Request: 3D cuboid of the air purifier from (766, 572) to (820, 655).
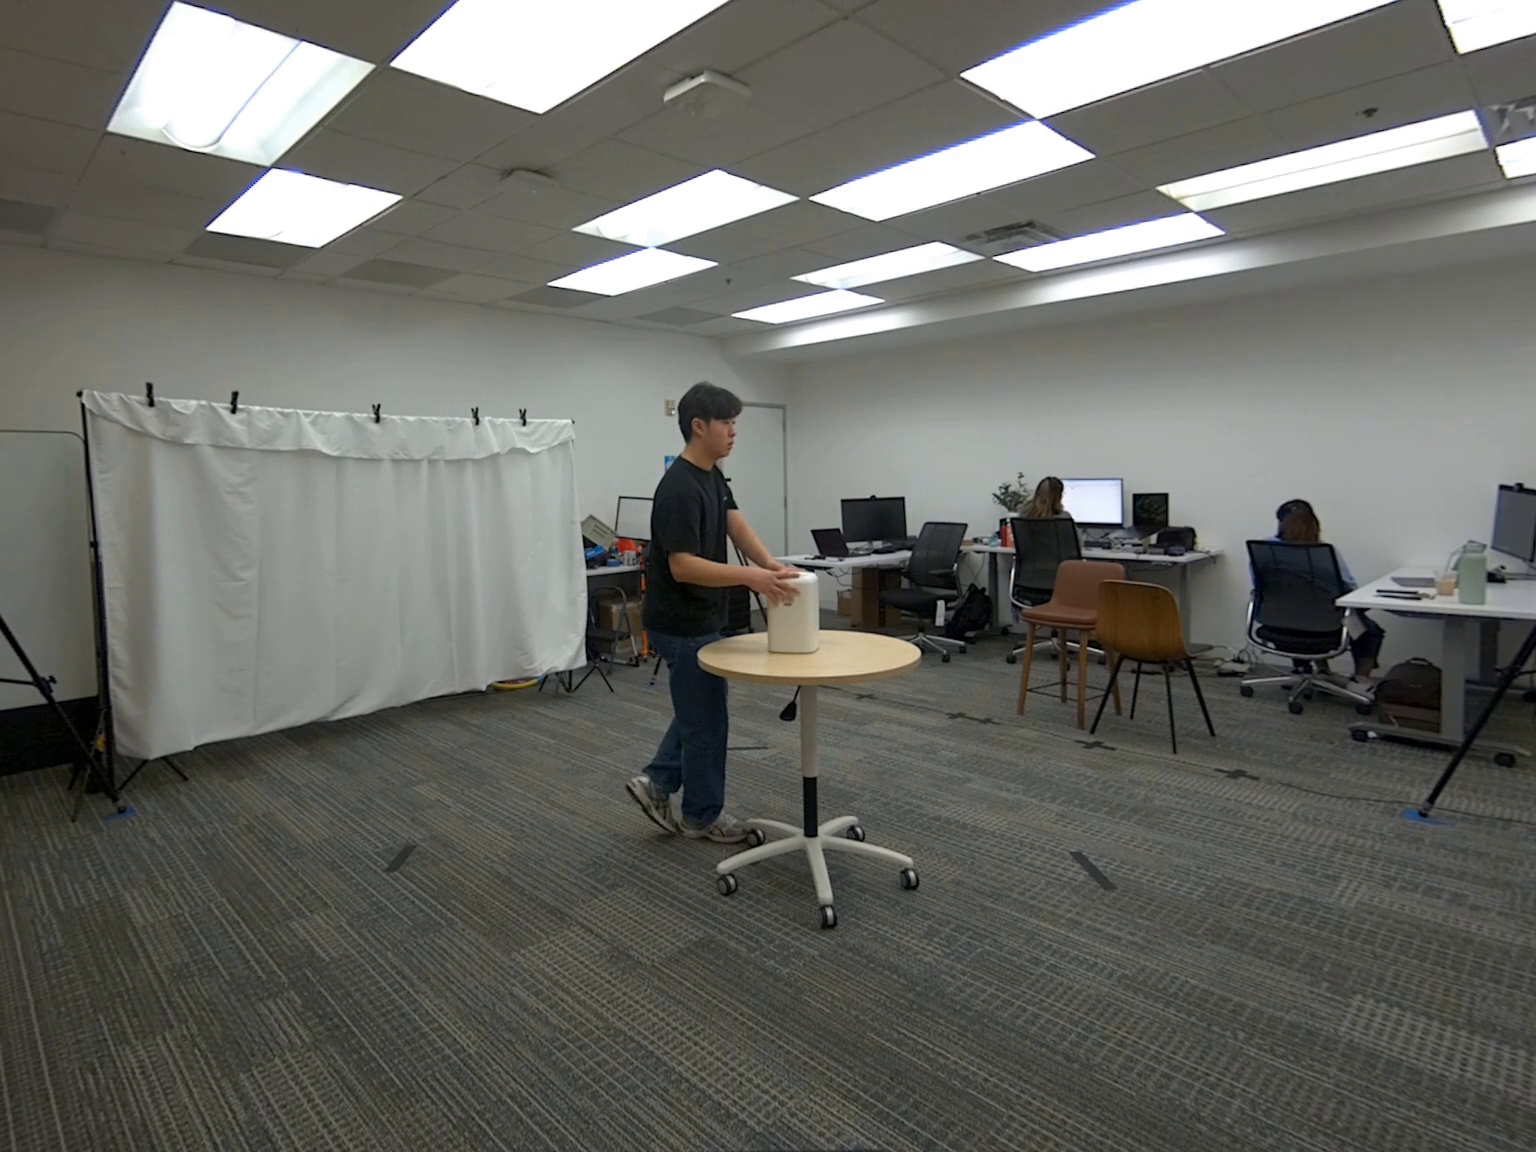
[{"bbox_3d":[0.090,0.120,2.989,0.173,0.264,0.170,-2,4,15],"label":"air purifier"}]
